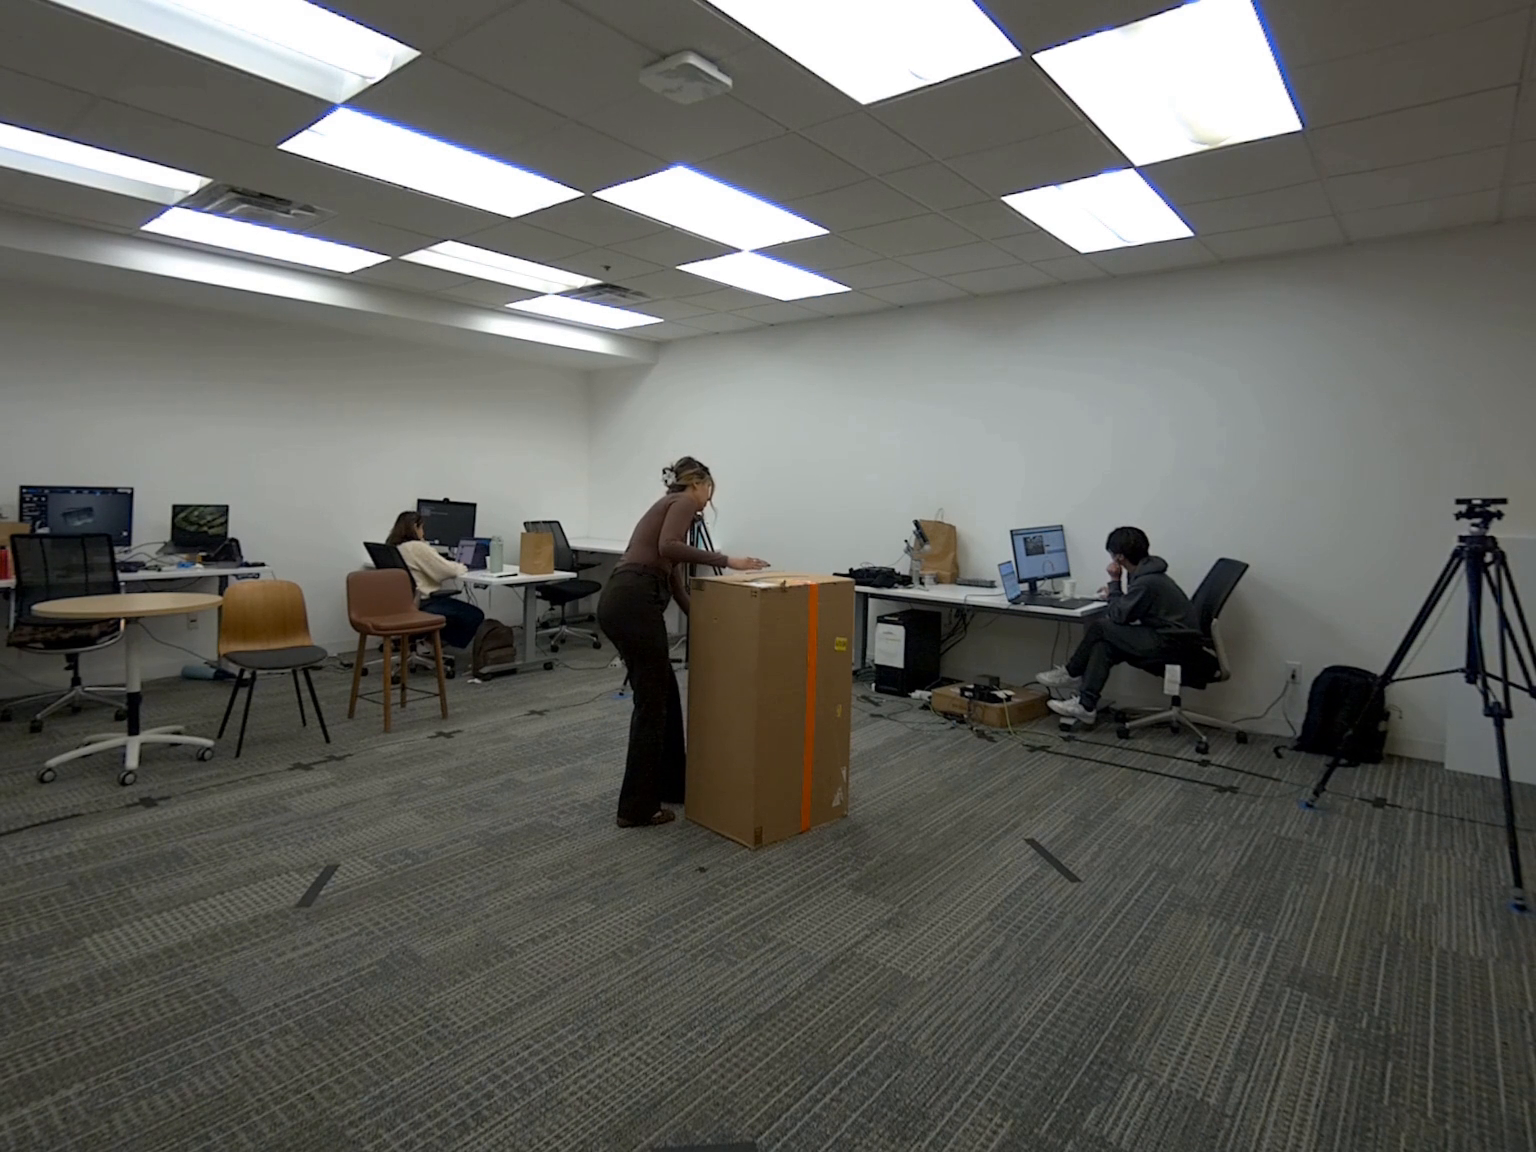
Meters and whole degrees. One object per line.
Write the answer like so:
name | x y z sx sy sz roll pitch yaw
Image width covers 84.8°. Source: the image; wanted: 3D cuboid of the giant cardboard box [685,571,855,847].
giant cardboard box | 0.003 0.514 3.602 0.566 1.024 0.462 -2 5 -43
